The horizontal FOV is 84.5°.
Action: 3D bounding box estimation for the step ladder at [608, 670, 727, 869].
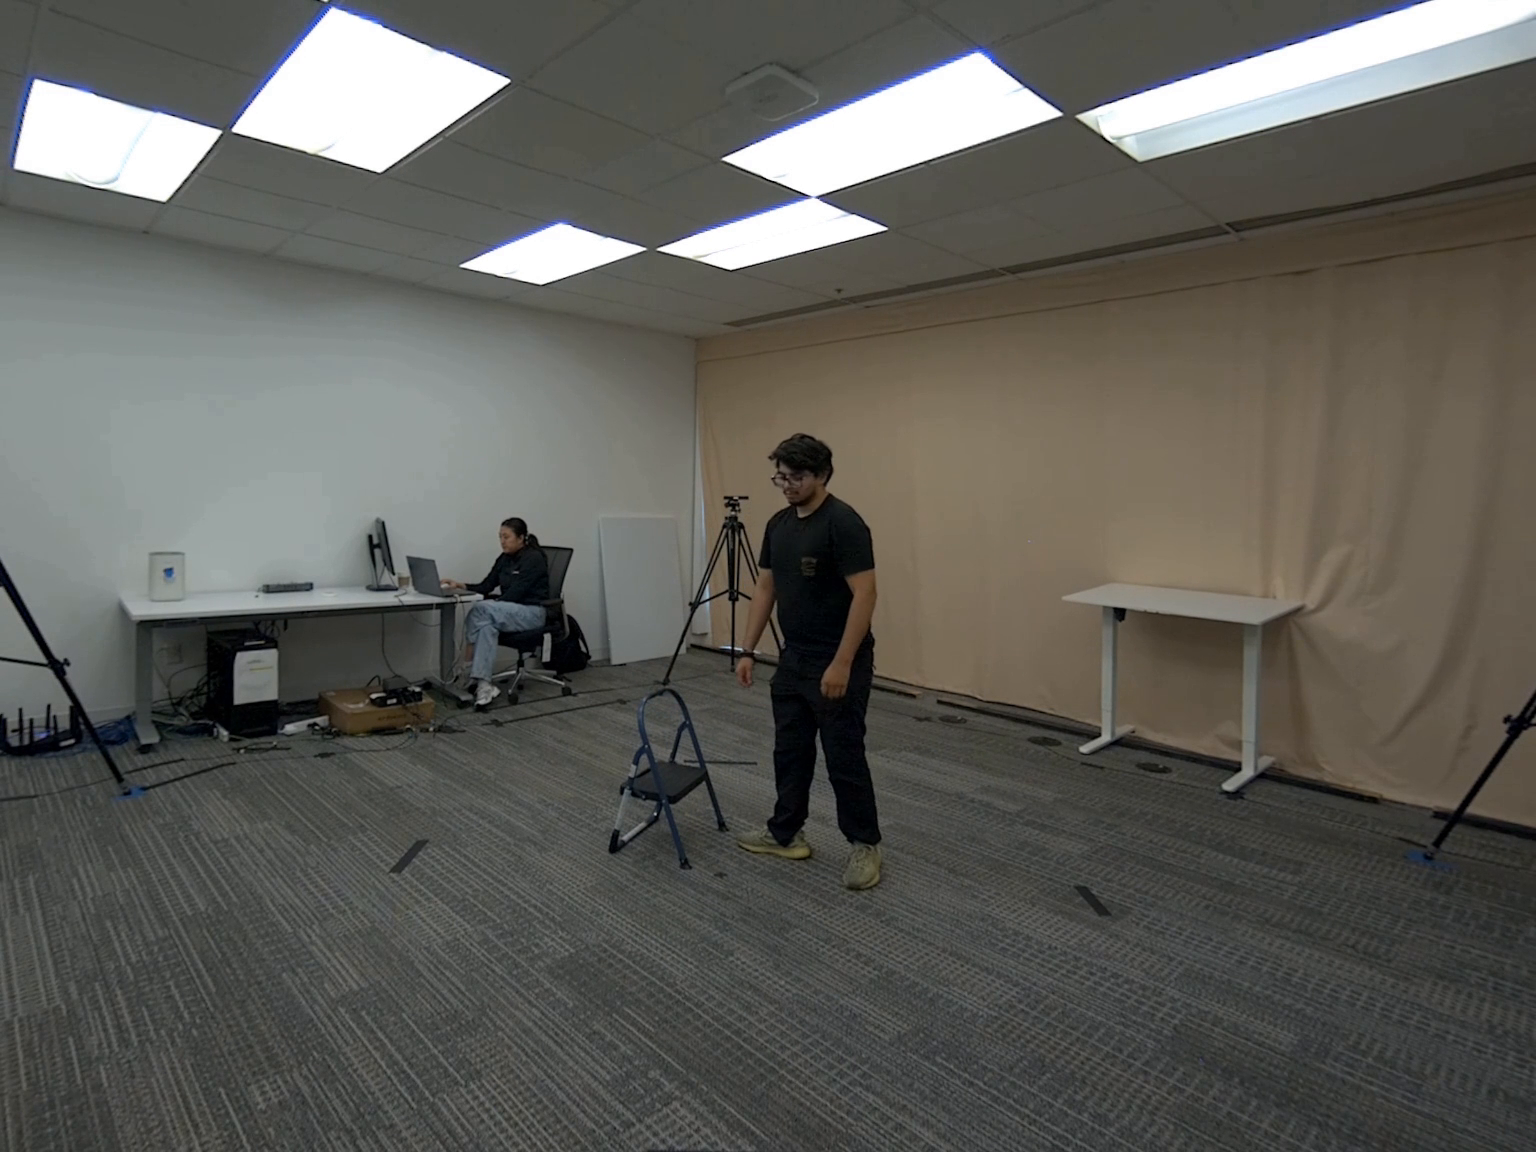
[{"bbox_3d":[-0.391,0.766,3.388,0.355,0.605,0.425,3,3,19],"label":"step ladder"}]
